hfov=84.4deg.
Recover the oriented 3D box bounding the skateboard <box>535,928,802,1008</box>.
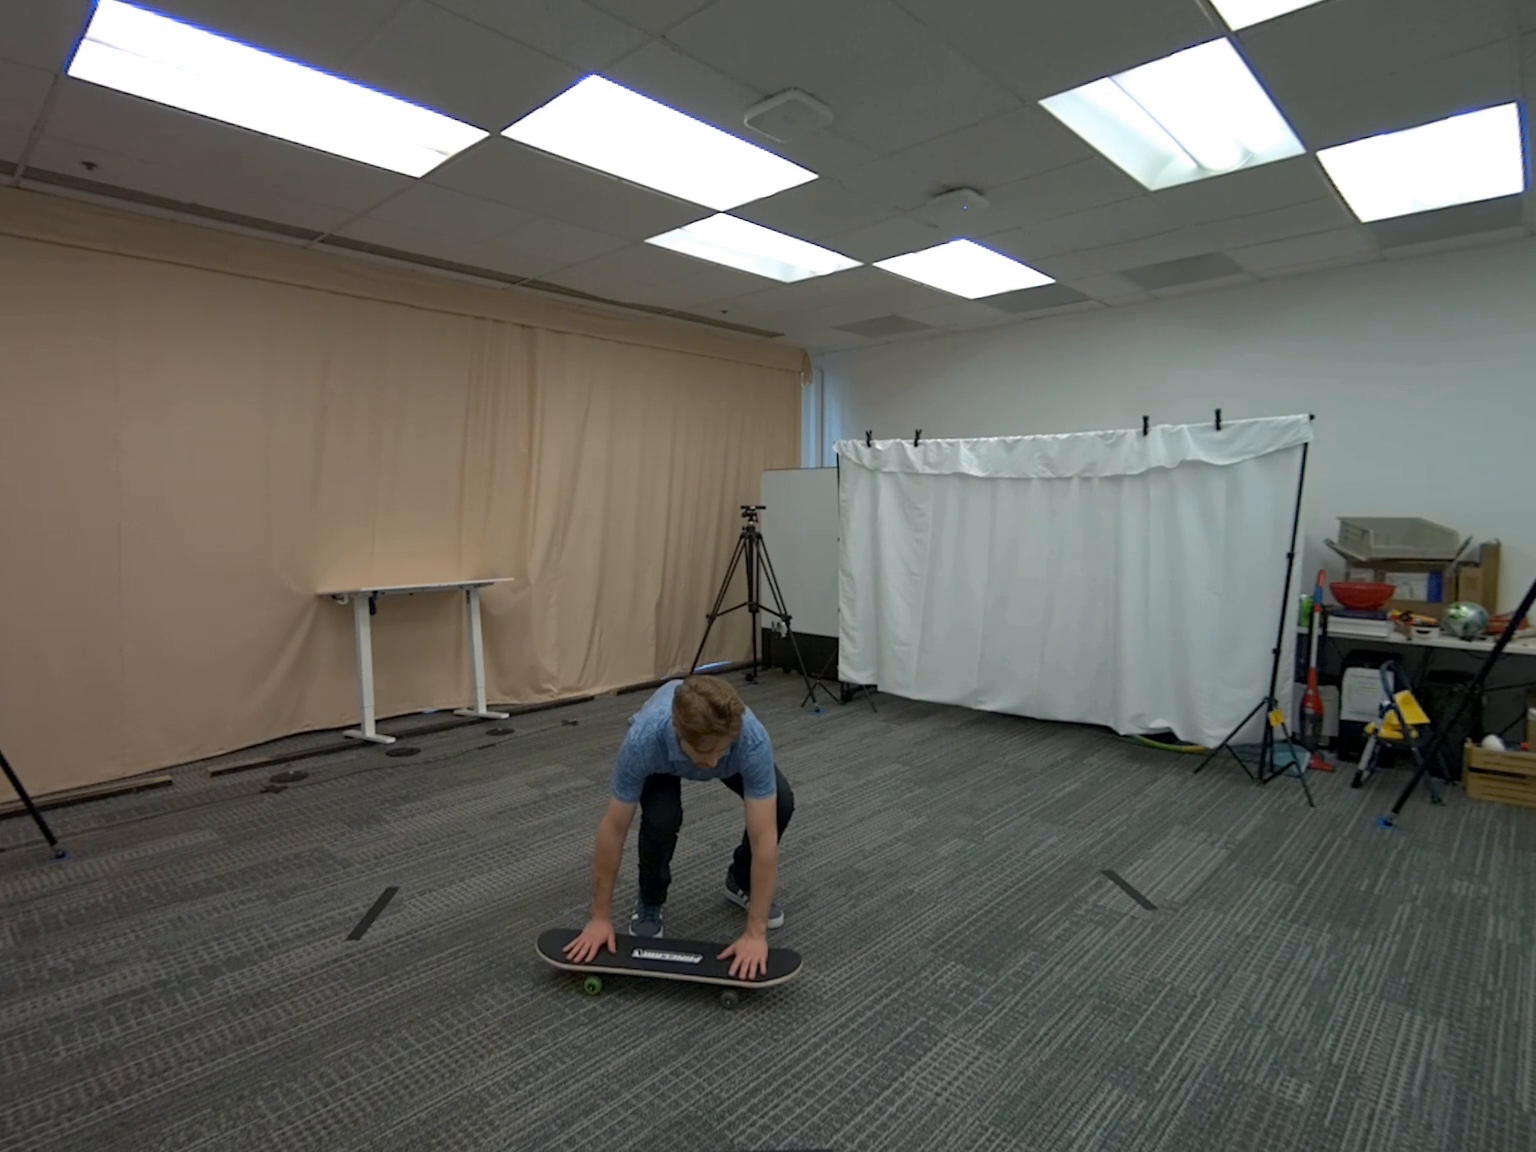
[{"bbox_3d":[-0.291,1.130,2.443,0.794,0.110,0.192,0,6,10],"label":"skateboard"}]
